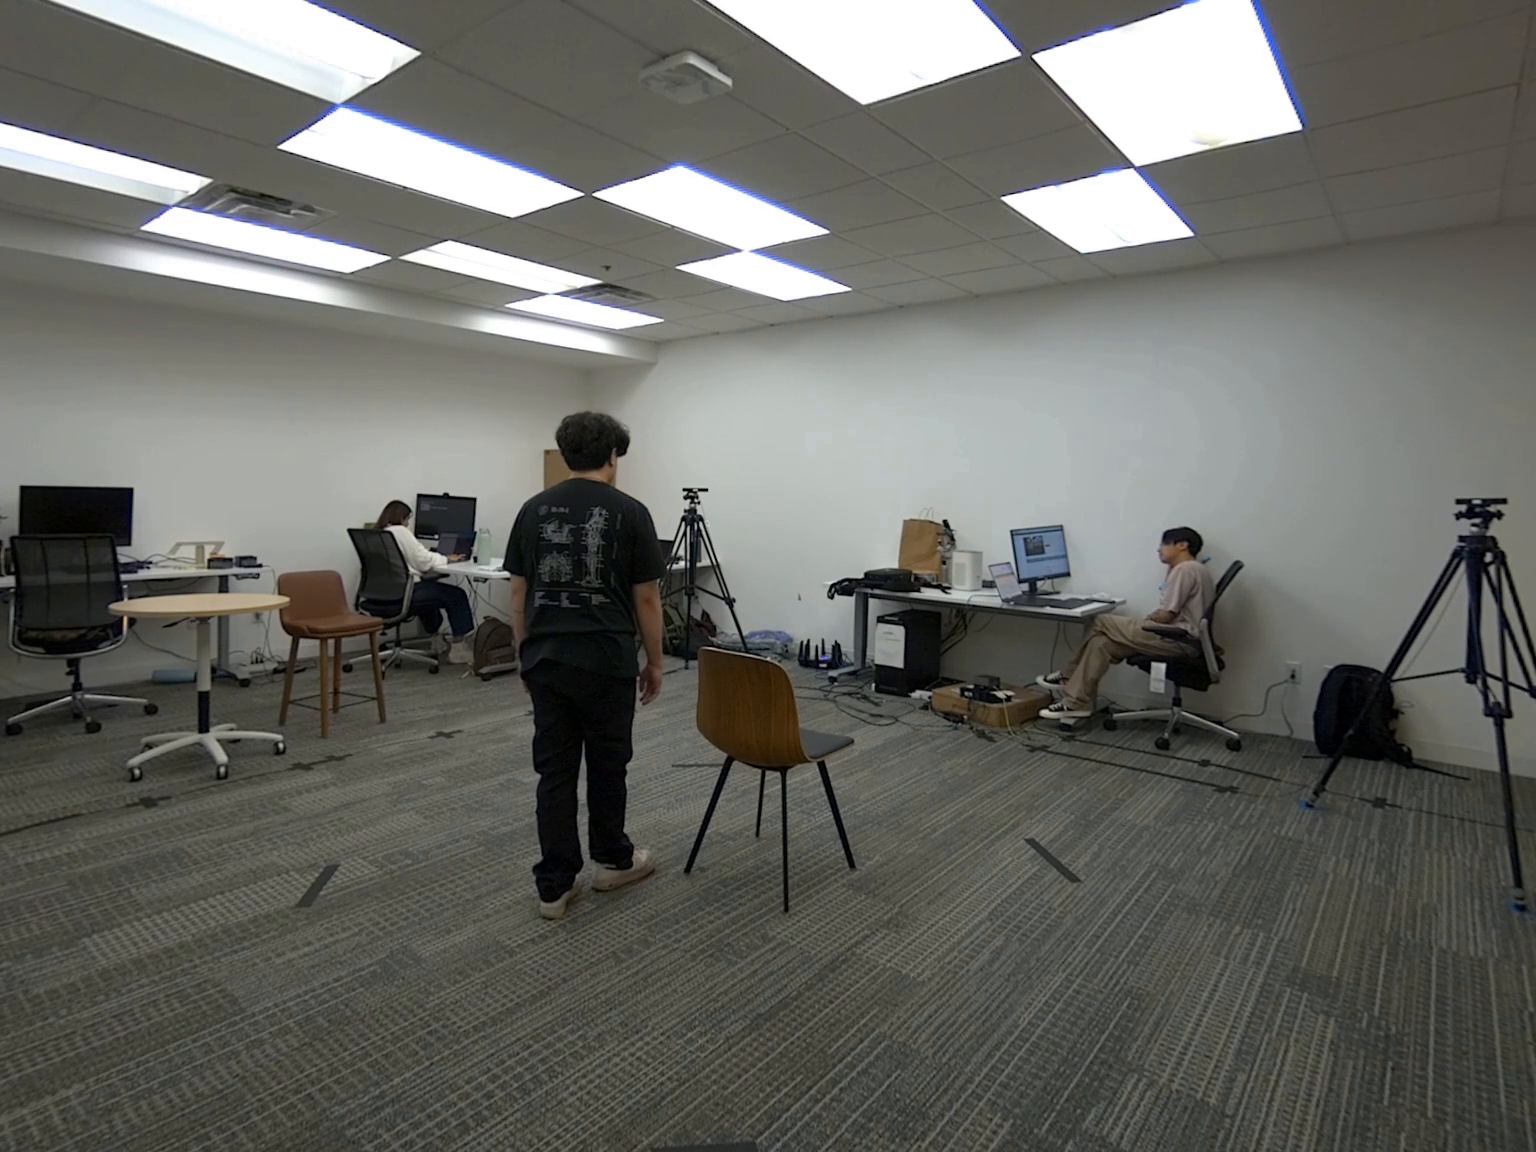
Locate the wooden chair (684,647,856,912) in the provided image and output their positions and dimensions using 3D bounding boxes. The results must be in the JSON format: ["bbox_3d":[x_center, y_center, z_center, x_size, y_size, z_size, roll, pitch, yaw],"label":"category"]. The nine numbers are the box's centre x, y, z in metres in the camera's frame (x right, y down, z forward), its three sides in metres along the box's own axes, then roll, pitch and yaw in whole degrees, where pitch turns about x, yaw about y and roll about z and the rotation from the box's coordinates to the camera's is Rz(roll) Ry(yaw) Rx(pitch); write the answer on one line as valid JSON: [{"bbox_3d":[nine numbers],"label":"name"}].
[{"bbox_3d":[0.015,0.650,3.088,0.494,0.872,0.510,4,8,37],"label":"wooden chair"}]
